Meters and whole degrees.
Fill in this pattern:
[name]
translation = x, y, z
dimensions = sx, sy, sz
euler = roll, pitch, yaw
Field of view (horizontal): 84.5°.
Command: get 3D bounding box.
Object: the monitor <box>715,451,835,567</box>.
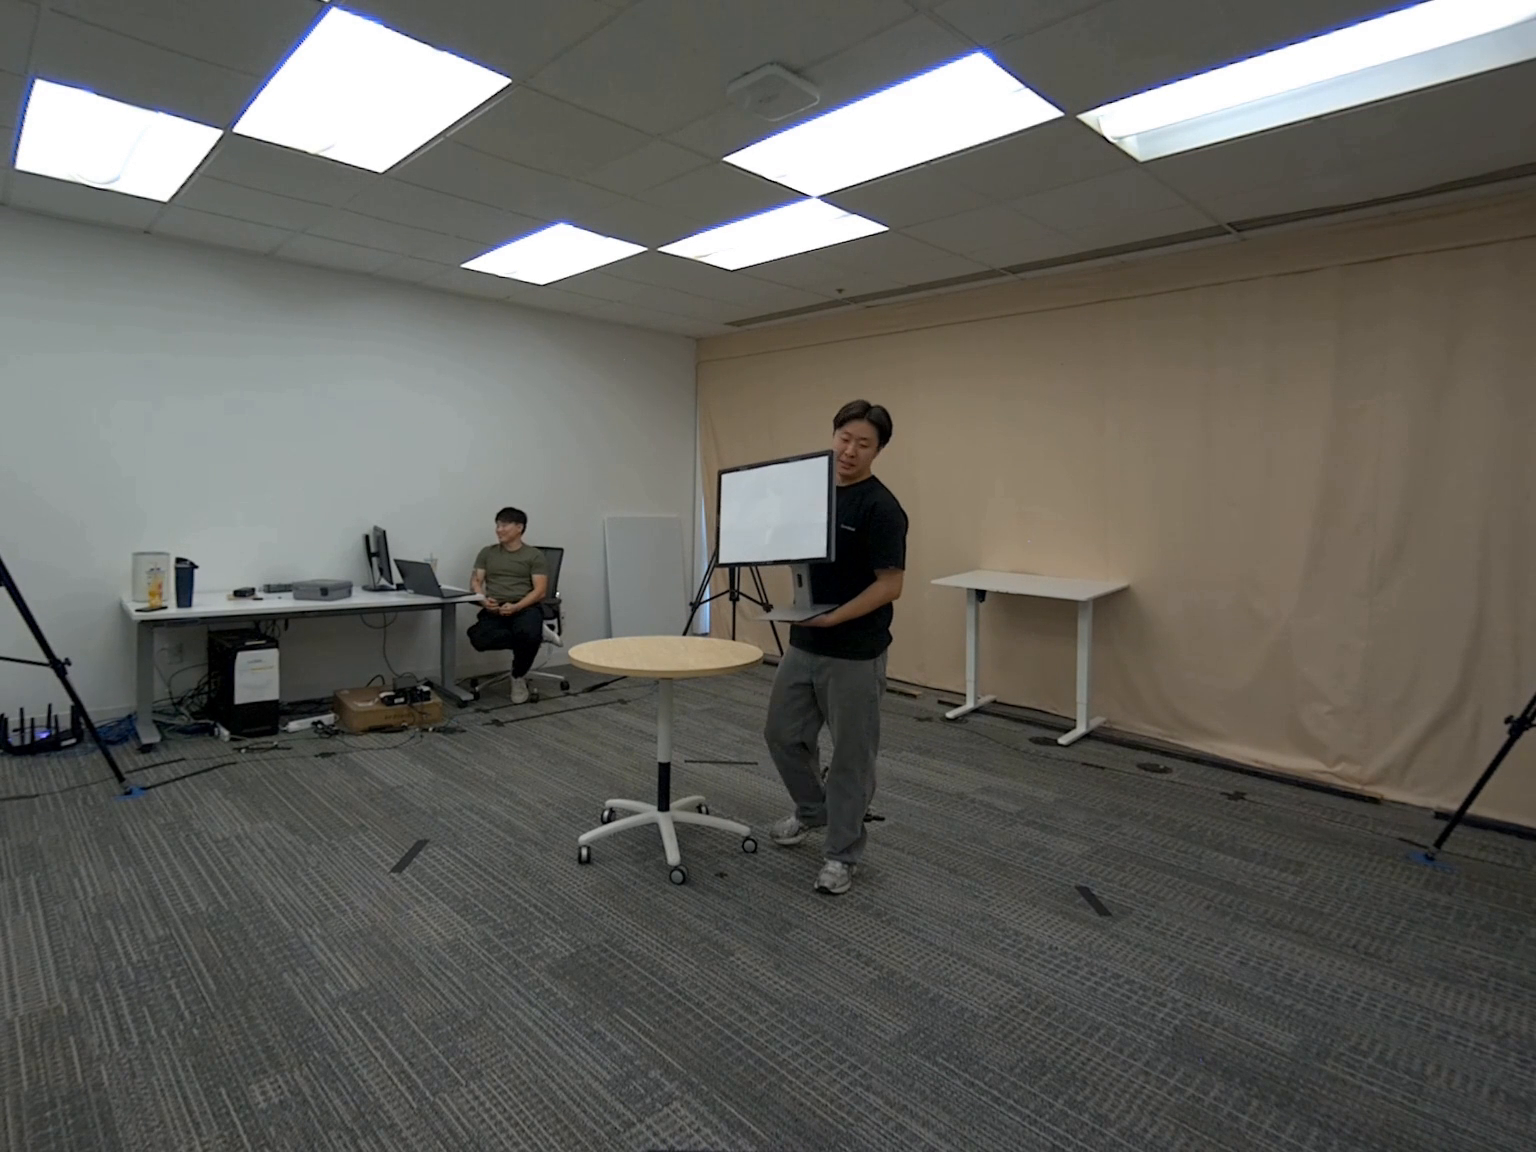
[monitor]
translation = 0.047, -0.120, 2.906
dimensions = 0.218, 0.563, 0.574
euler = -14, 7, -39
